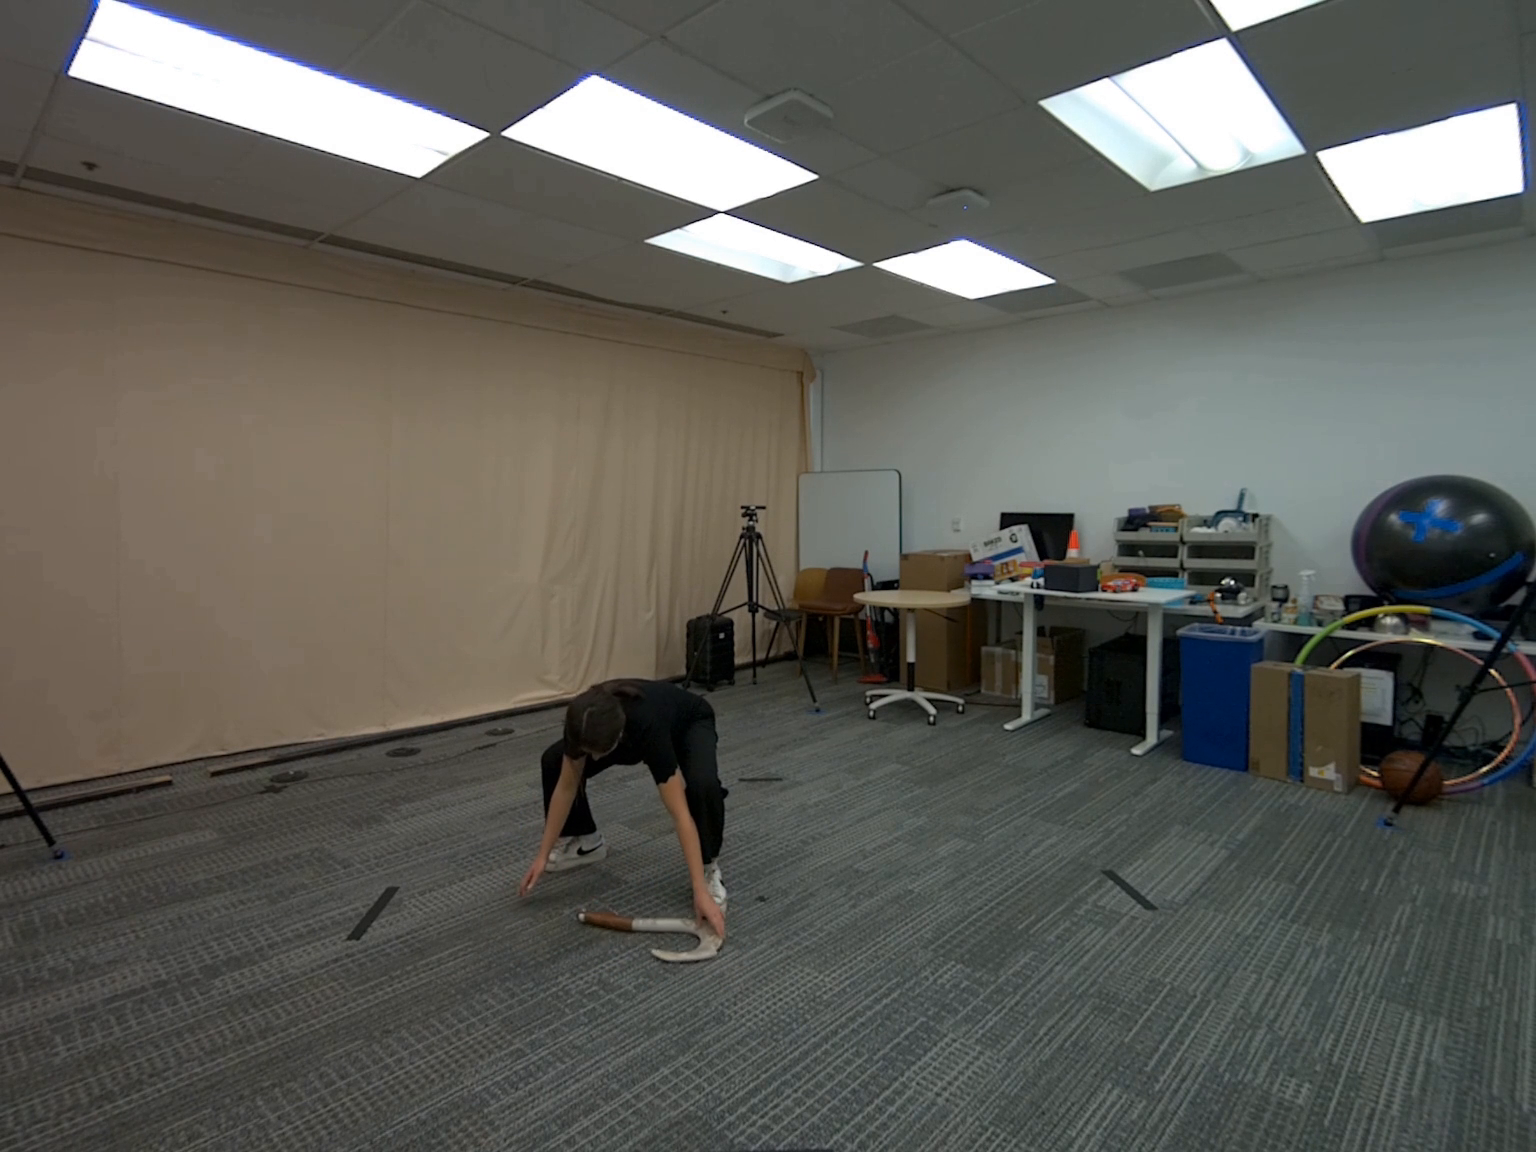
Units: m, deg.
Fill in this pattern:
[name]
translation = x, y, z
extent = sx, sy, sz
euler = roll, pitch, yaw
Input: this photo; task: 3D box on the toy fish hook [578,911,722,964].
[toy fish hook]
translation = -0.403, 1.146, 2.704
extent = 0.515, 0.048, 0.221
euler = 1, 2, 15
